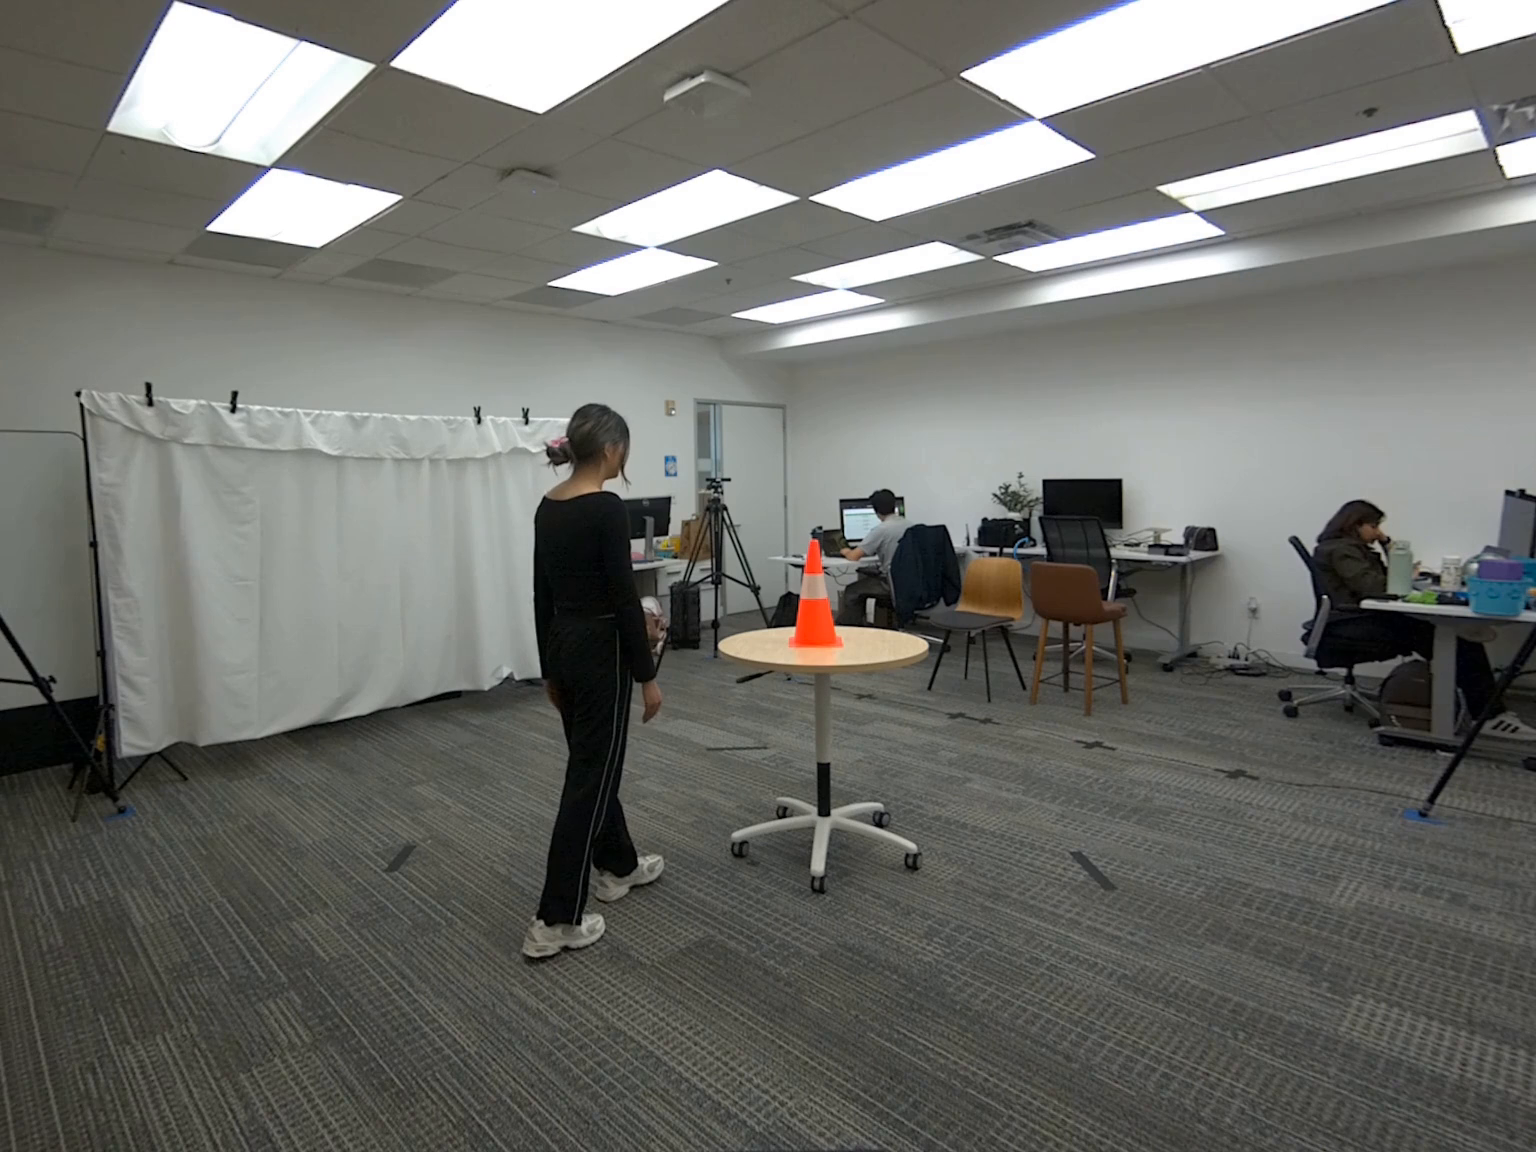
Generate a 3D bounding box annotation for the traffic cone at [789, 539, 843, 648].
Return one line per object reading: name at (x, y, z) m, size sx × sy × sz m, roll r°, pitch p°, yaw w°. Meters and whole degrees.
traffic cone at (0.175, 0.059, 3.172) m, size 0.204 × 0.383 × 0.204 m, roll -1°, pitch 2°, yaw 4°
